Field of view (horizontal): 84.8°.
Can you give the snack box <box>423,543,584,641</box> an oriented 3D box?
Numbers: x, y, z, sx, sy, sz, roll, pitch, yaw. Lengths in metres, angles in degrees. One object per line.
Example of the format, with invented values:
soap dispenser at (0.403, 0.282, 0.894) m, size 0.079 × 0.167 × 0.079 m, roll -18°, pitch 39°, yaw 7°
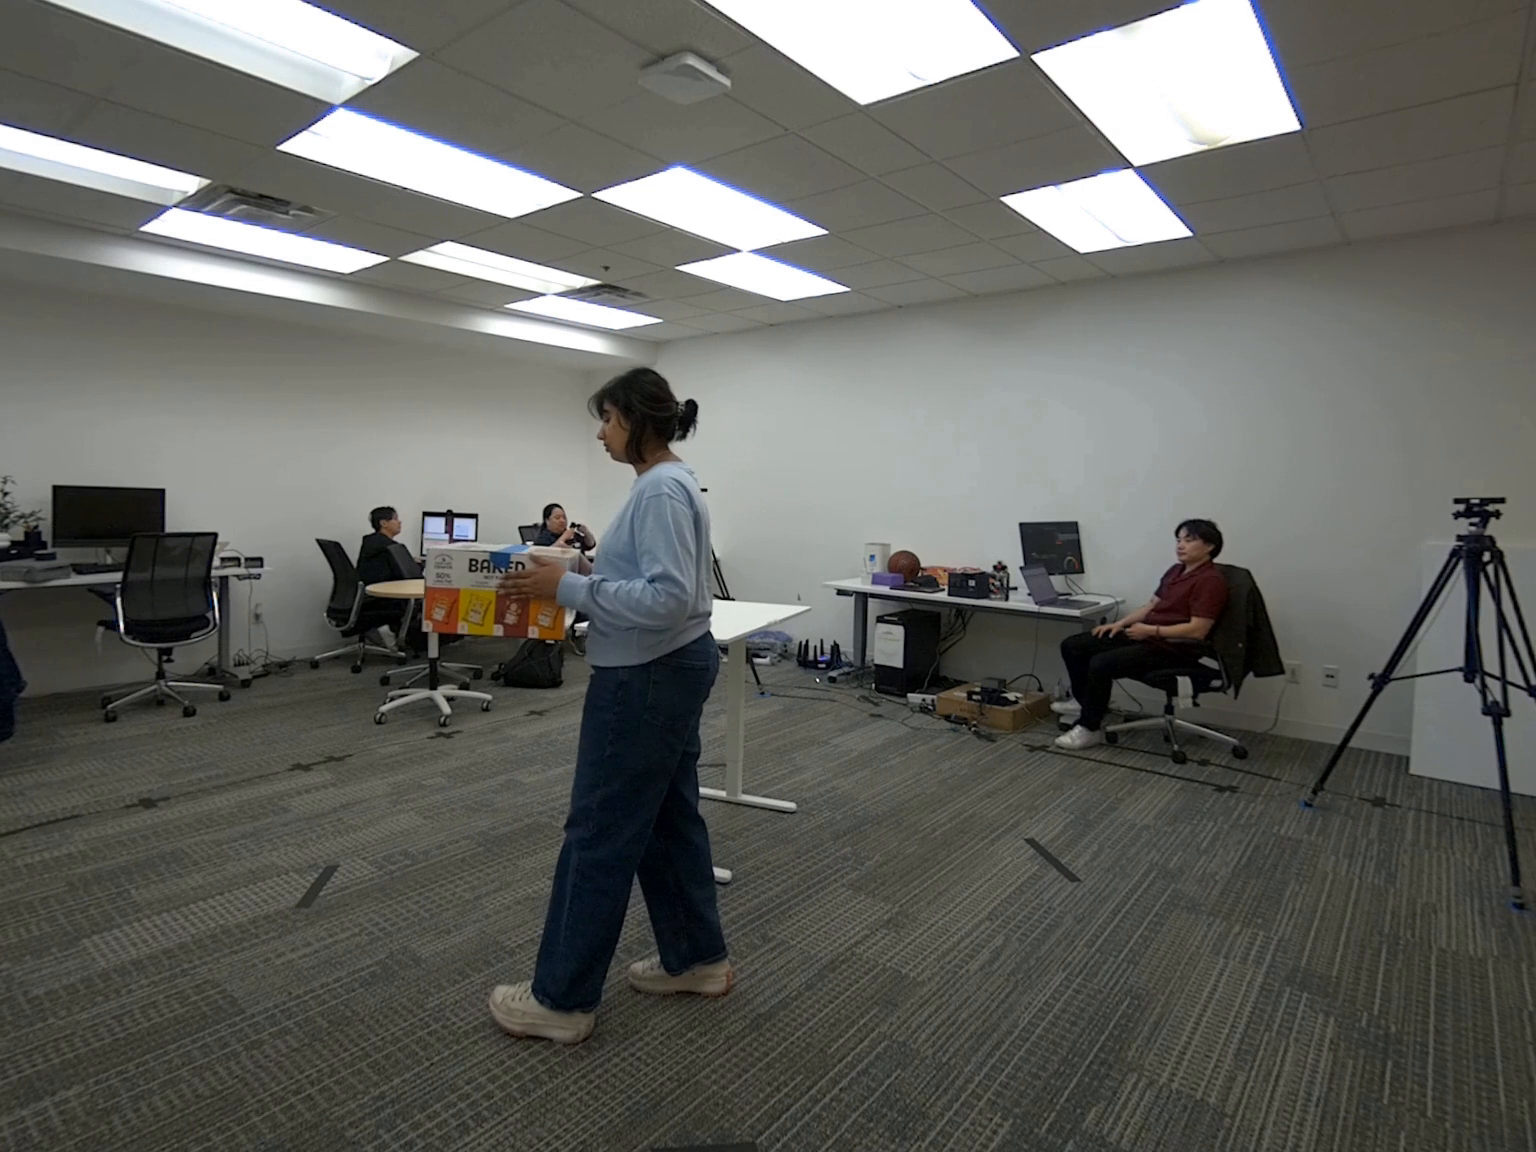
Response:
snack box at (-0.695, 0.029, 2.241) m, size 0.338 × 0.205 × 0.409 m, roll 4°, pitch 3°, yaw -7°
